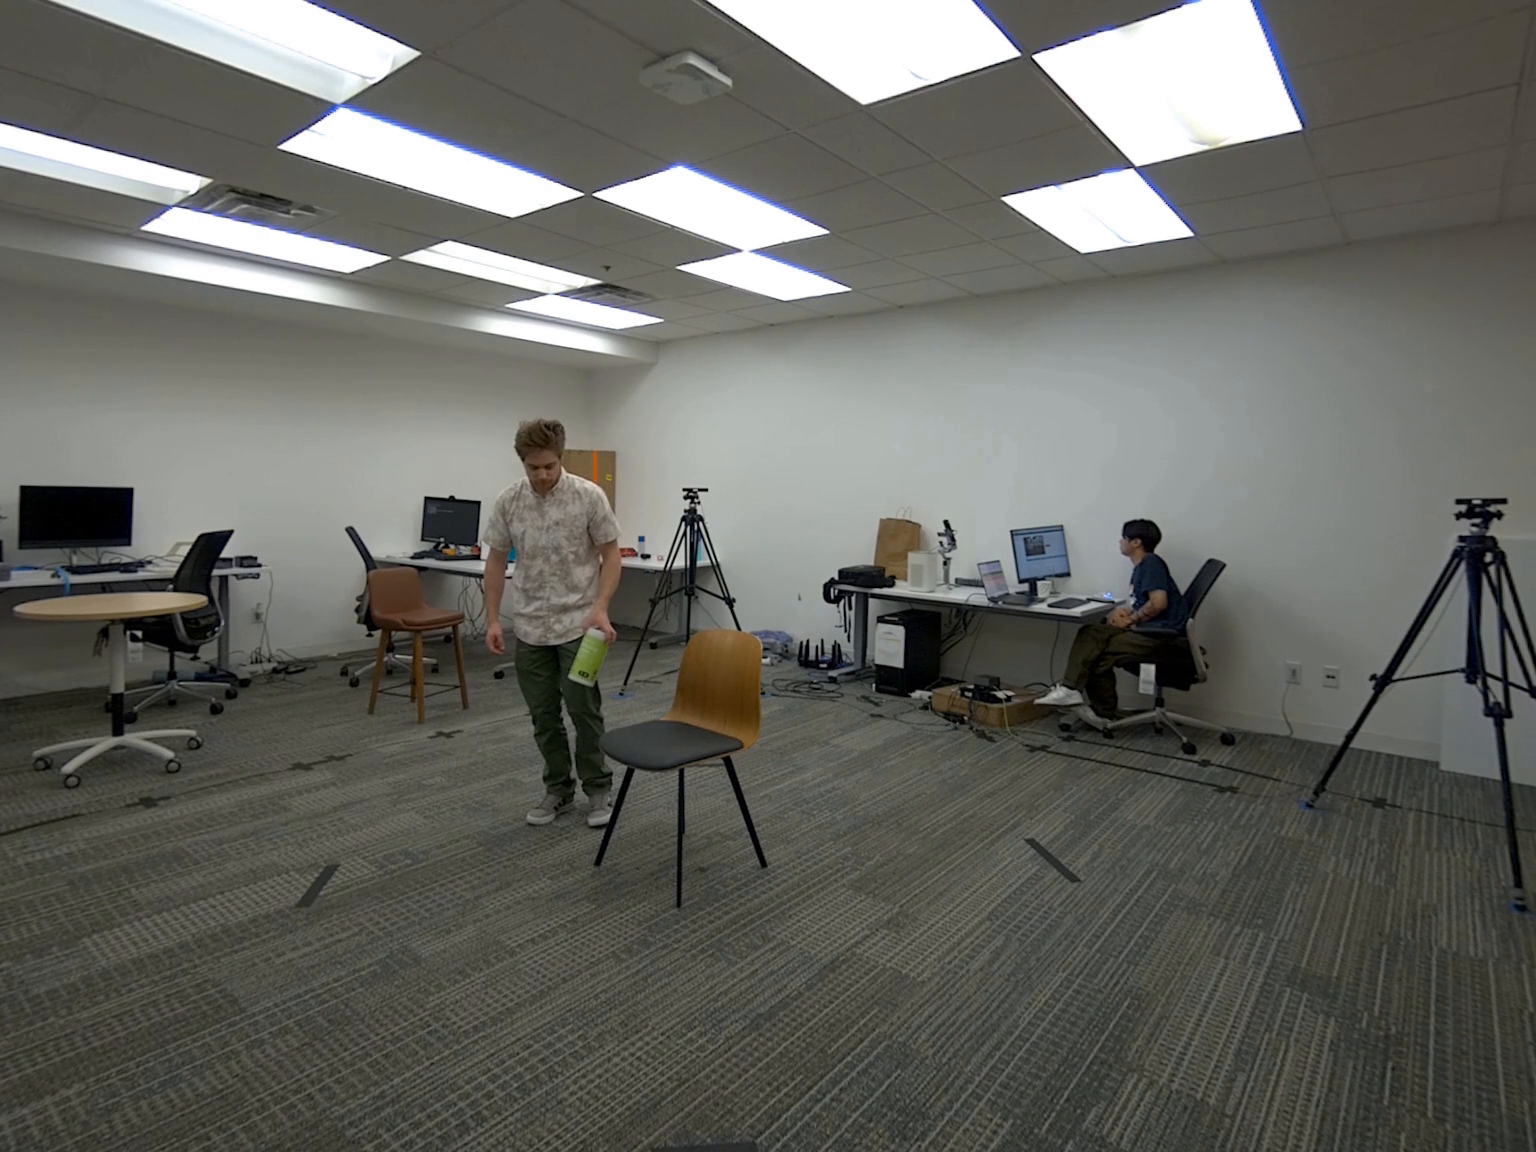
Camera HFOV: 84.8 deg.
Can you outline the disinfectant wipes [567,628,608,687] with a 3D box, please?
[{"bbox_3d":[-0.724,0.317,3.377,0.118,0.218,0.117,21,-4,0],"label":"disinfectant wipes"}]
